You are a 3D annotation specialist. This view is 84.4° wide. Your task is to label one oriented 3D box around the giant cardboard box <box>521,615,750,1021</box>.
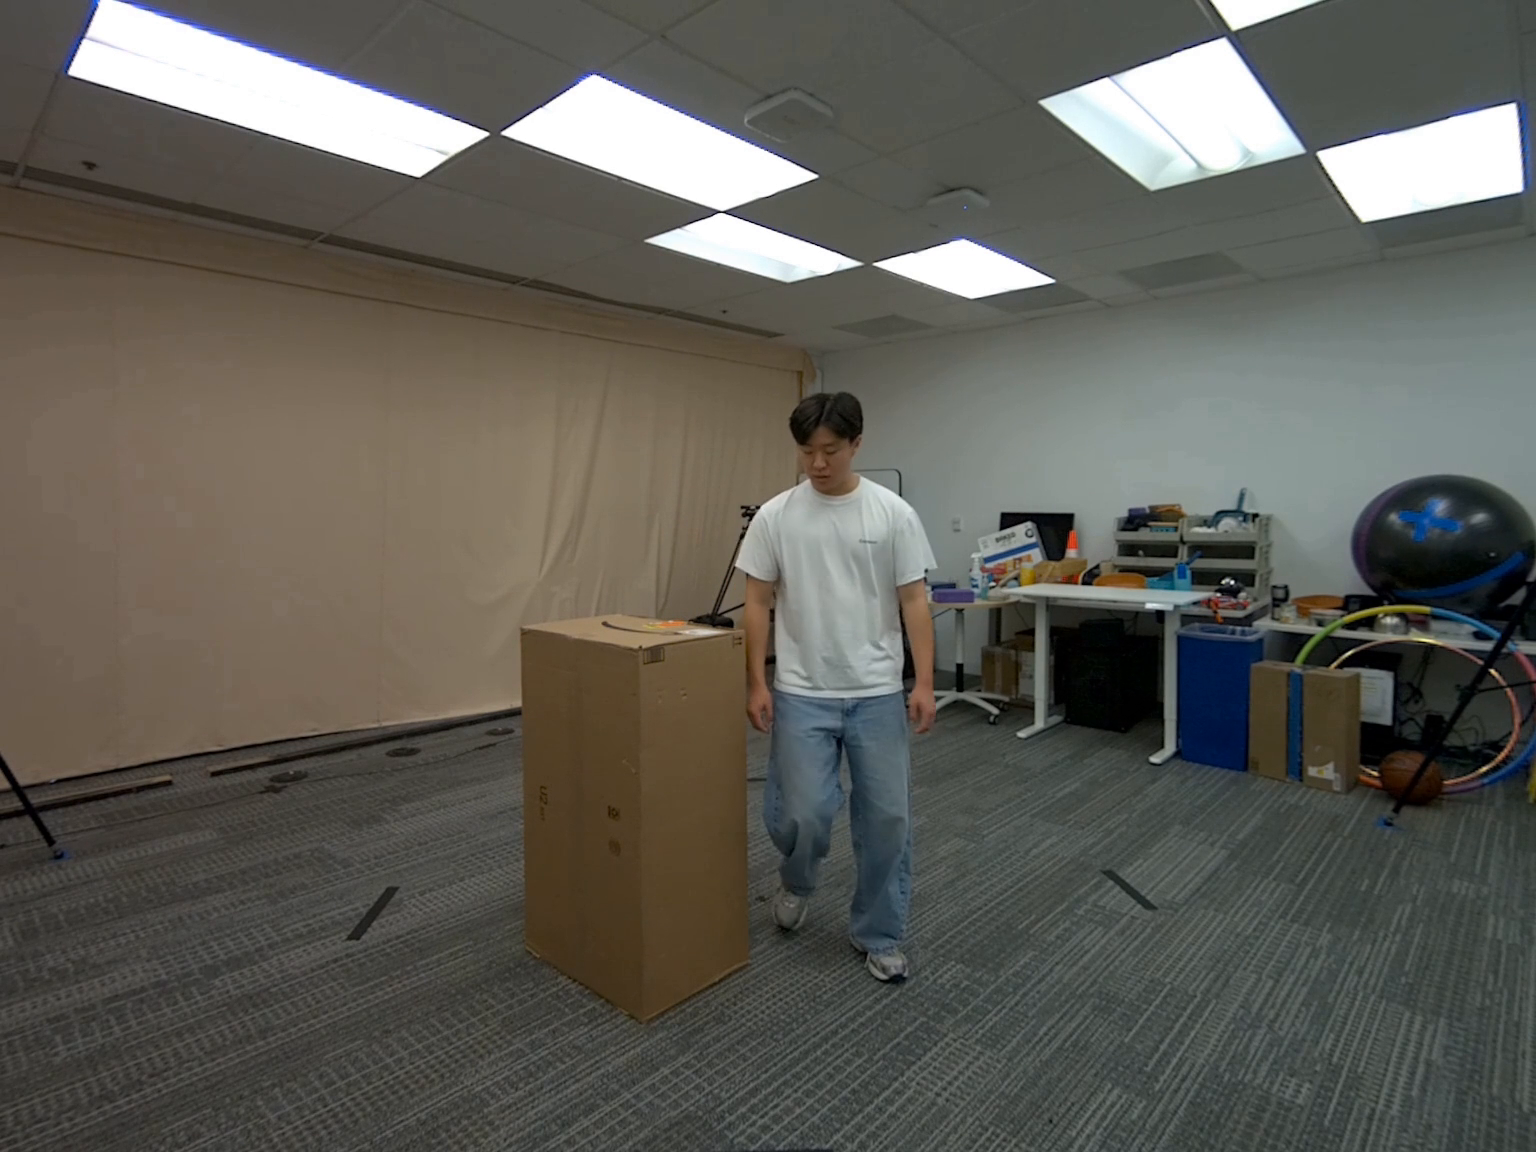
[{"bbox_3d":[-0.417,0.672,2.585,0.597,1.024,0.413,3,4,43],"label":"giant cardboard box"}]
